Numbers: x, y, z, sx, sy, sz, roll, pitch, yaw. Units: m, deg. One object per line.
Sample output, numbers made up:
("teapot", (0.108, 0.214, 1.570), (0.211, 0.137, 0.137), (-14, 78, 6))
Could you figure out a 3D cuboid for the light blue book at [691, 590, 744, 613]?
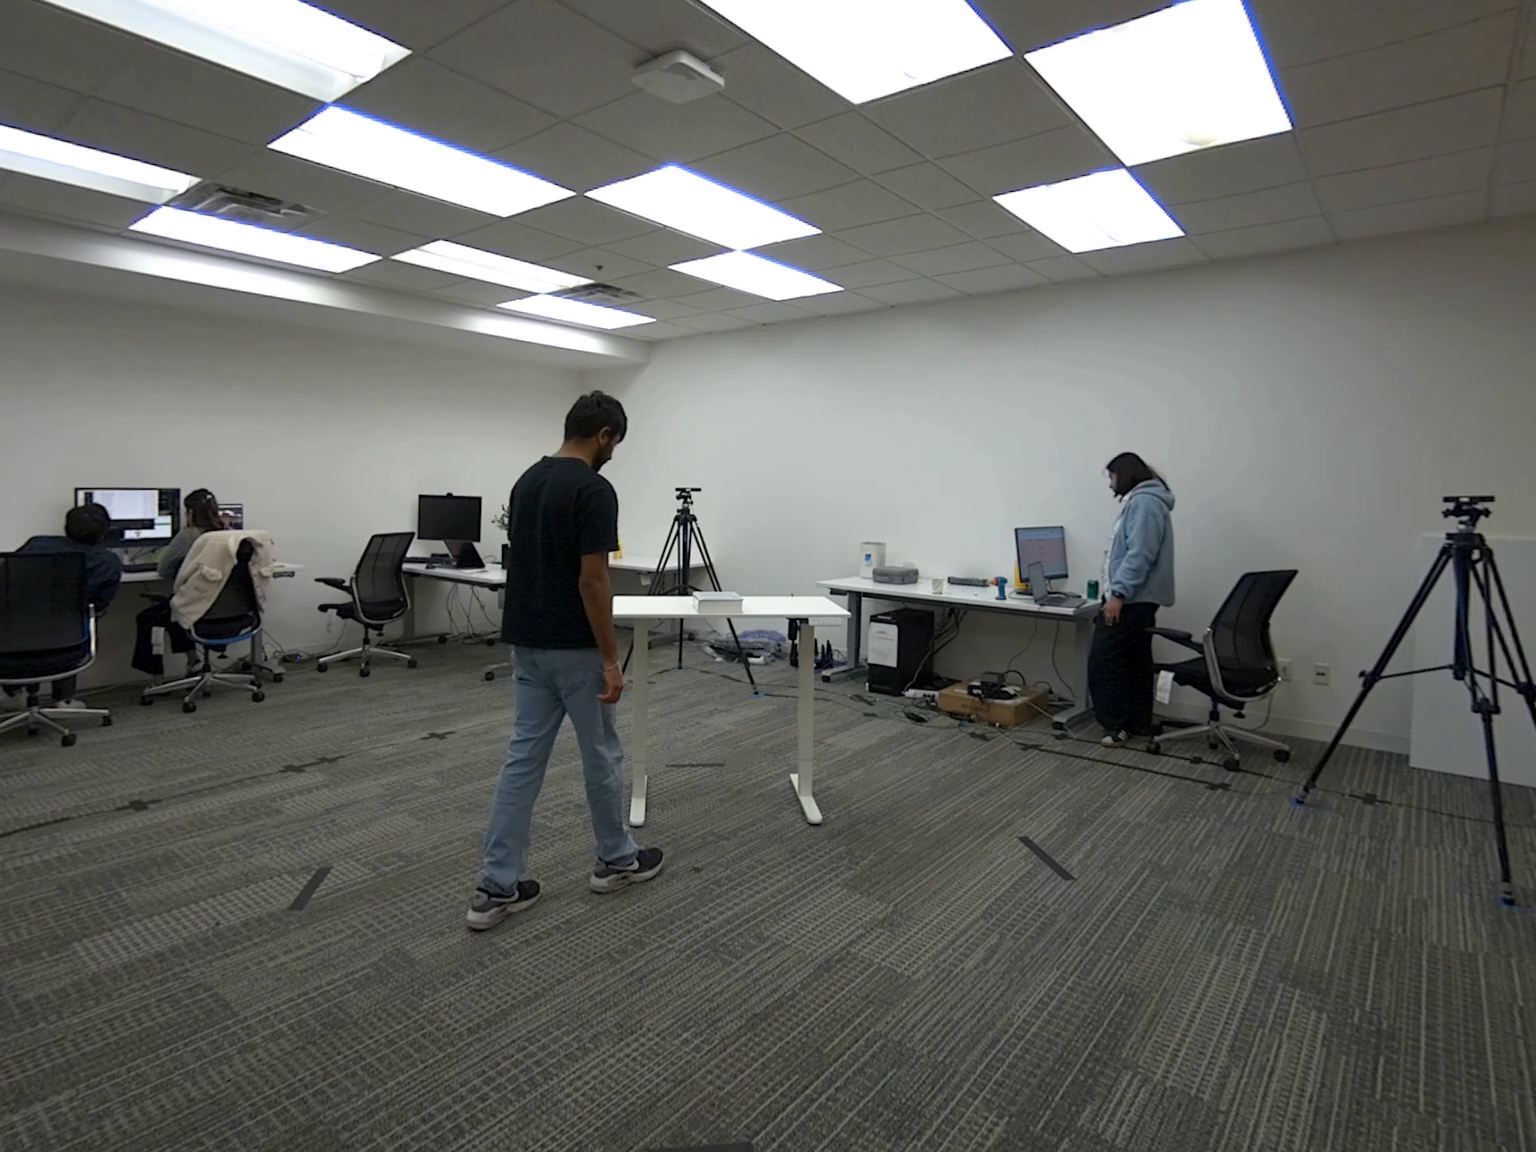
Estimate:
("light blue book", (-0.222, 0.107, 3.611), (0.190, 0.059, 0.264), (-1, 5, -9))
